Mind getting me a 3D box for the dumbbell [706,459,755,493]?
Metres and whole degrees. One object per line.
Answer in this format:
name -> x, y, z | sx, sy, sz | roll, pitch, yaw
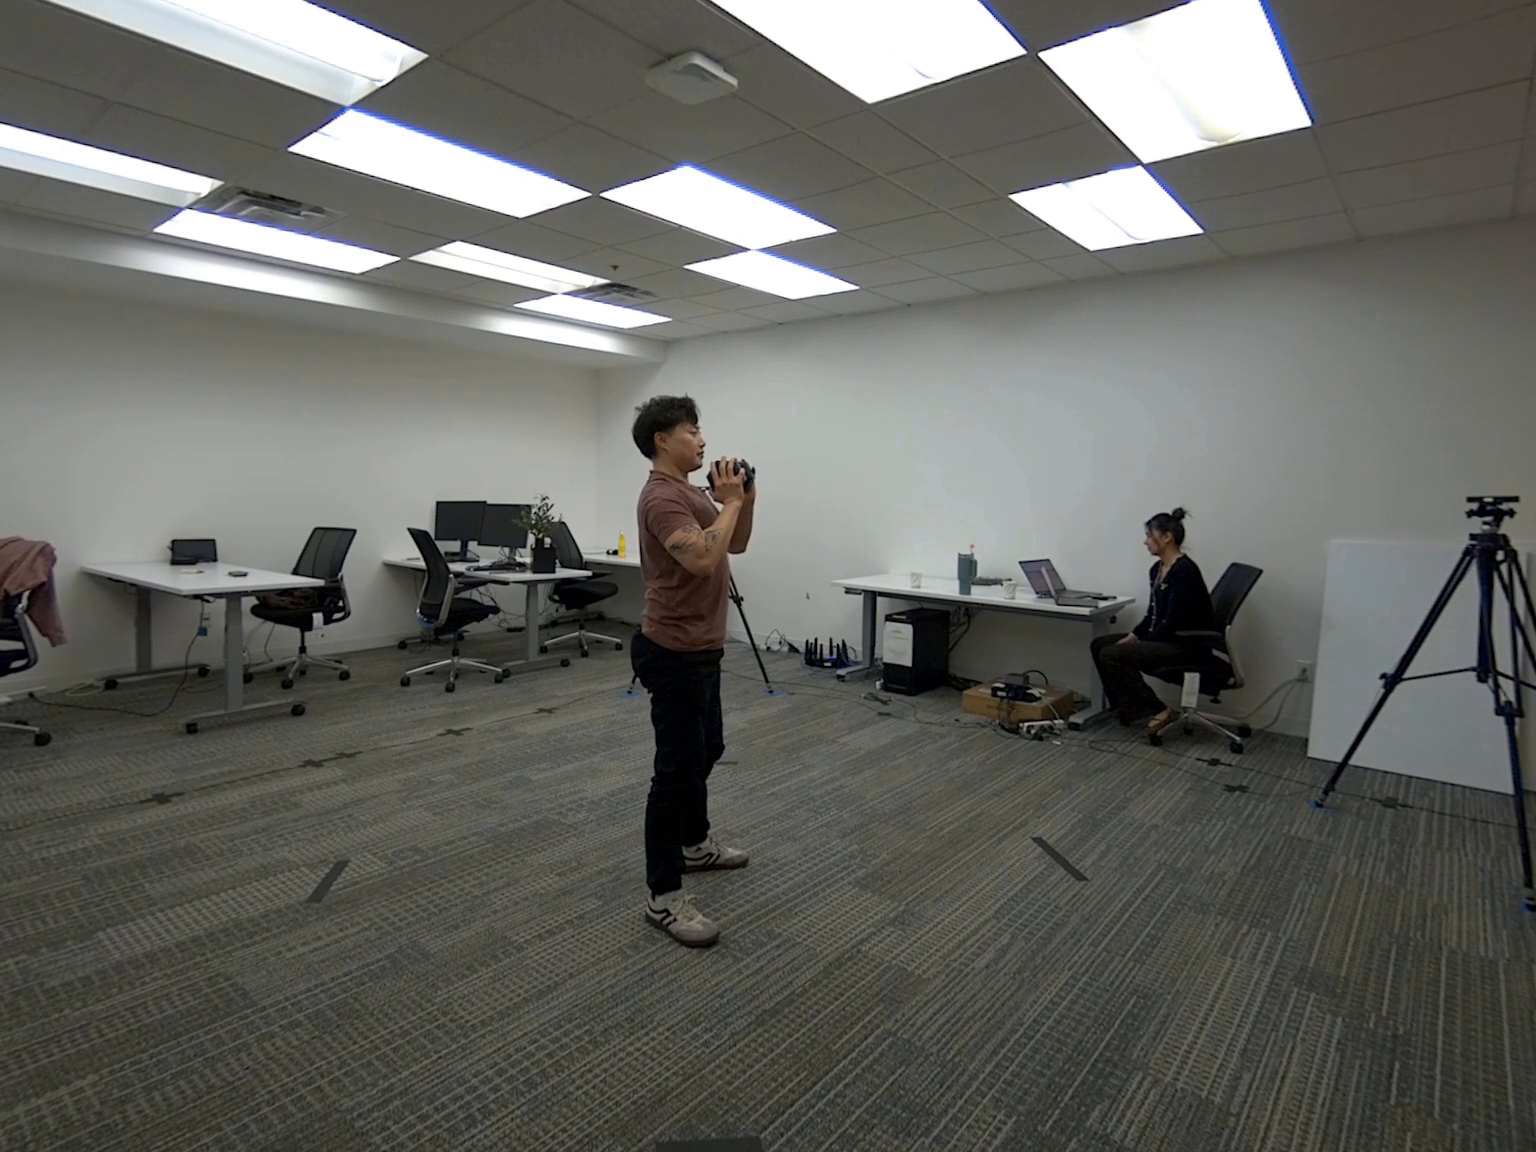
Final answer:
dumbbell -> -0.128, -0.322, 2.826 | 0.124, 0.108, 0.291 | 0, 5, 10
